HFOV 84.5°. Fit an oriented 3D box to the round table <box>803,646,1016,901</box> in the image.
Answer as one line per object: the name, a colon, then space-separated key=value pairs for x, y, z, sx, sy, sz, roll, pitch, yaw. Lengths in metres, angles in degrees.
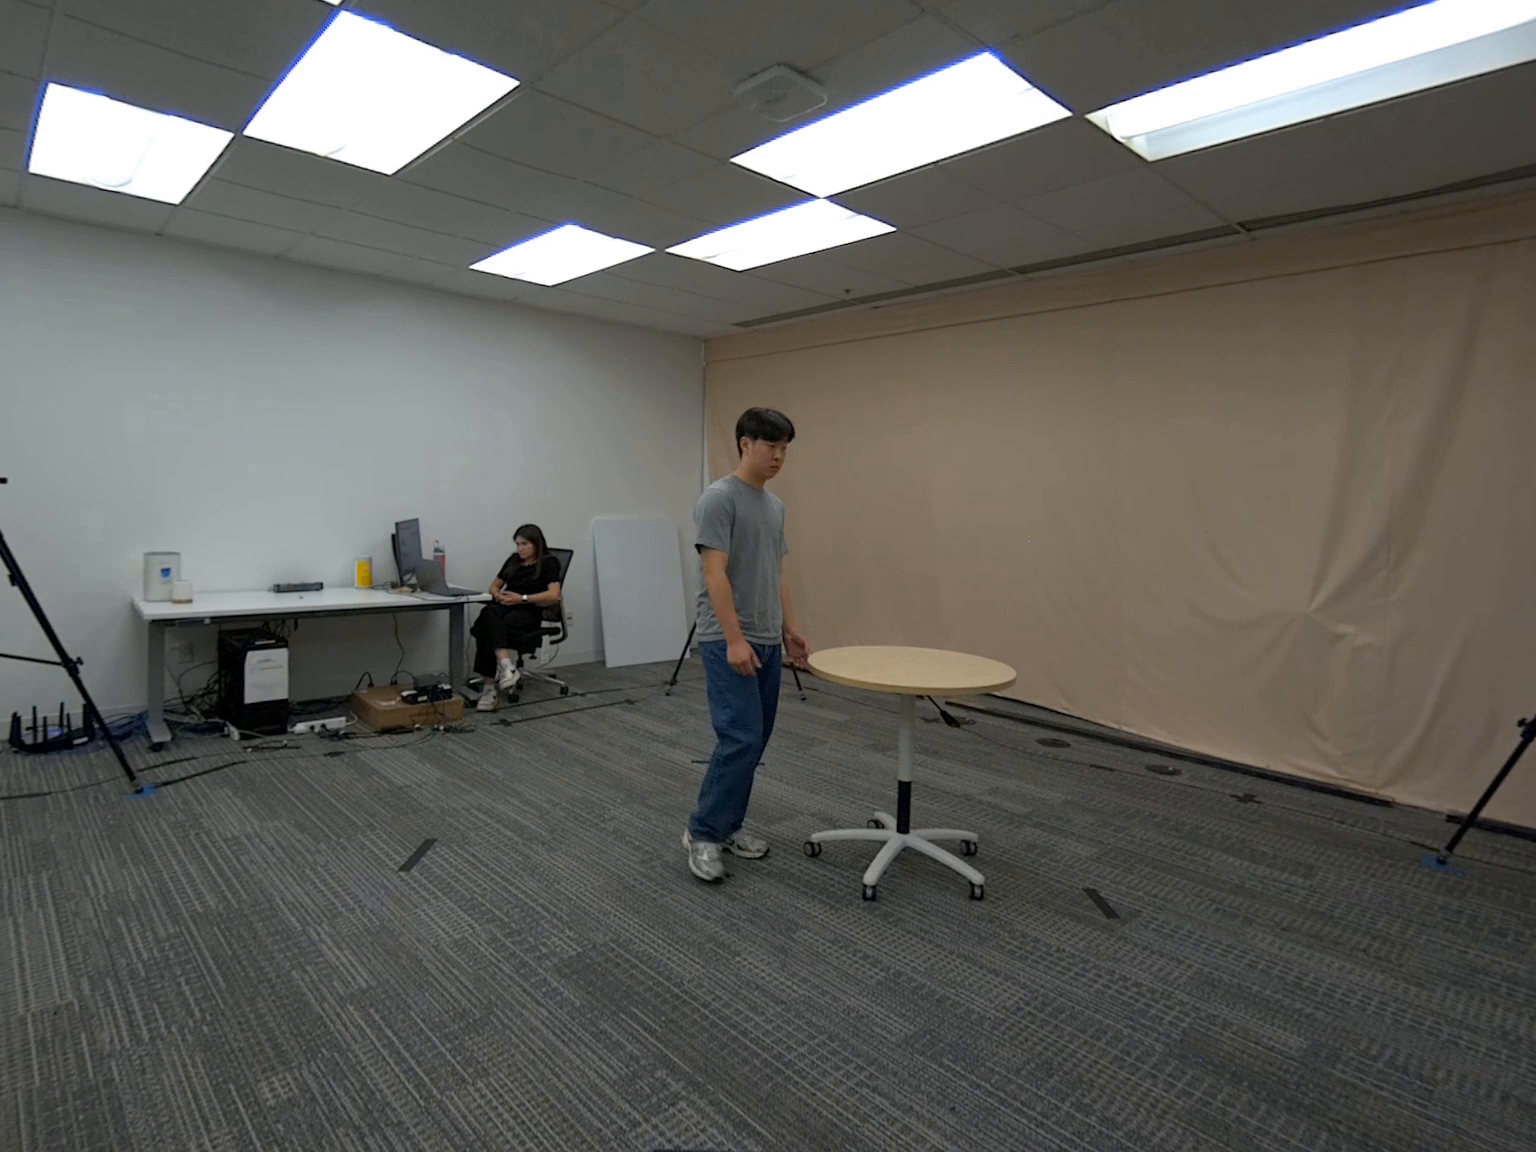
round table: x=0.509 y=0.726 z=3.185 sx=0.763 sy=0.792 sz=0.766 roll=2 pitch=4 yaw=-1
